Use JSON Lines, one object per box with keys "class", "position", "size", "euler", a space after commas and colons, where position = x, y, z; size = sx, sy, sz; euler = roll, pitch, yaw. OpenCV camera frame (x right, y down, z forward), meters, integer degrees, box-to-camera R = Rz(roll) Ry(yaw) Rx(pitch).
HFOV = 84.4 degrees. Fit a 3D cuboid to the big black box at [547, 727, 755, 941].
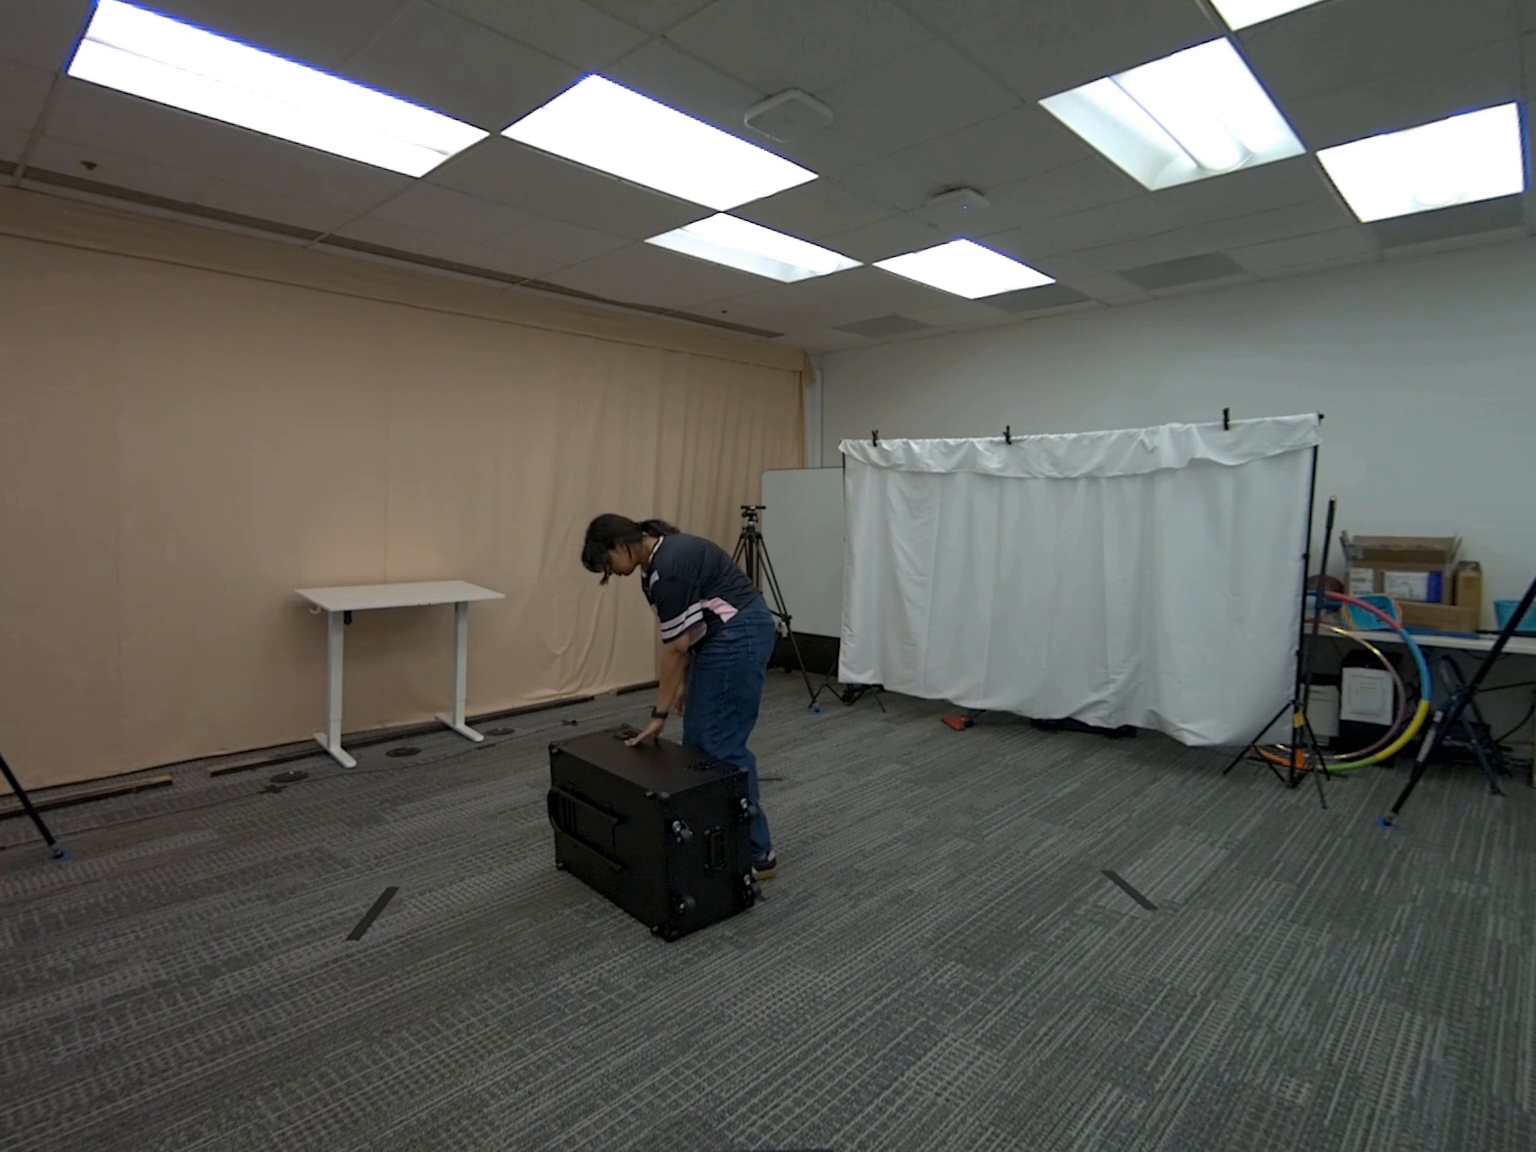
{"class": "big black box", "position": [-0.429, 0.887, 3.038], "size": [0.374, 0.522, 0.897], "euler": [-4, 6, -41]}
